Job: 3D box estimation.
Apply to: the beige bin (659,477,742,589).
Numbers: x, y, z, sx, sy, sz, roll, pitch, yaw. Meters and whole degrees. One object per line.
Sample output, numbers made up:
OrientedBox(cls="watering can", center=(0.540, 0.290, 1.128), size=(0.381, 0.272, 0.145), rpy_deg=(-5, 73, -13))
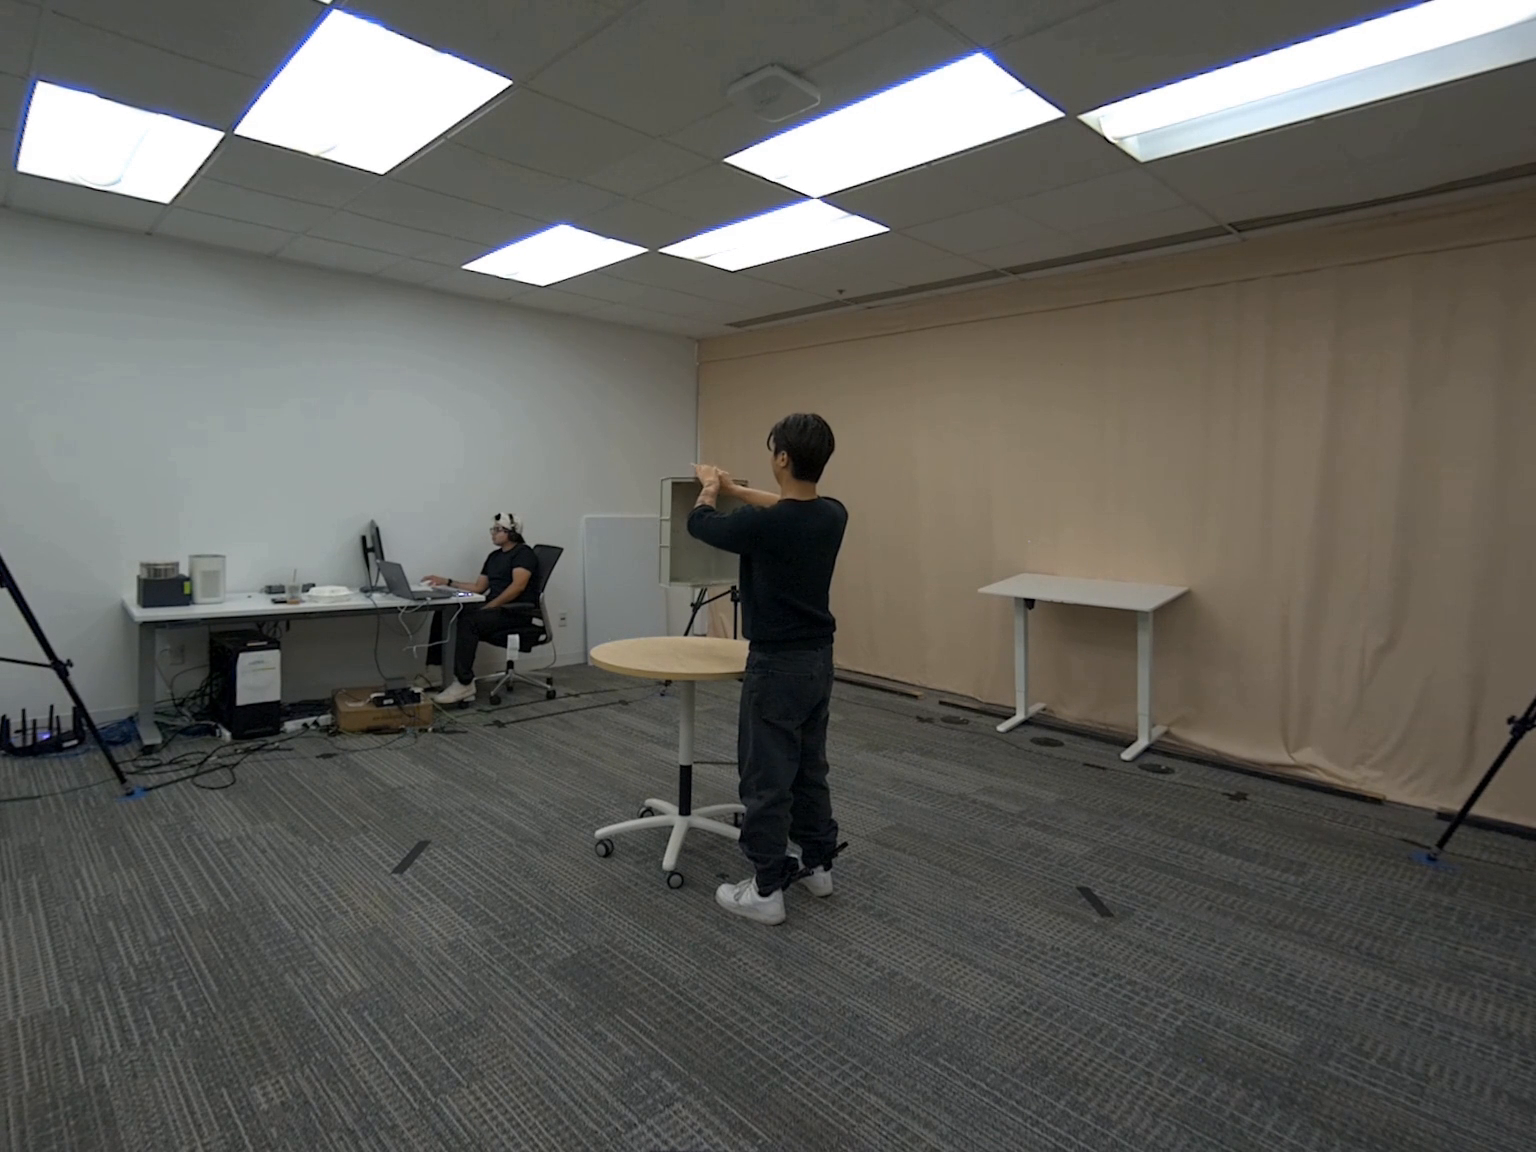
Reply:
OrientedBox(cls="beige bin", center=(-0.262, -0.168, 3.299), size=(0.193, 0.422, 0.369), rpy_deg=(2, 2, 37))
